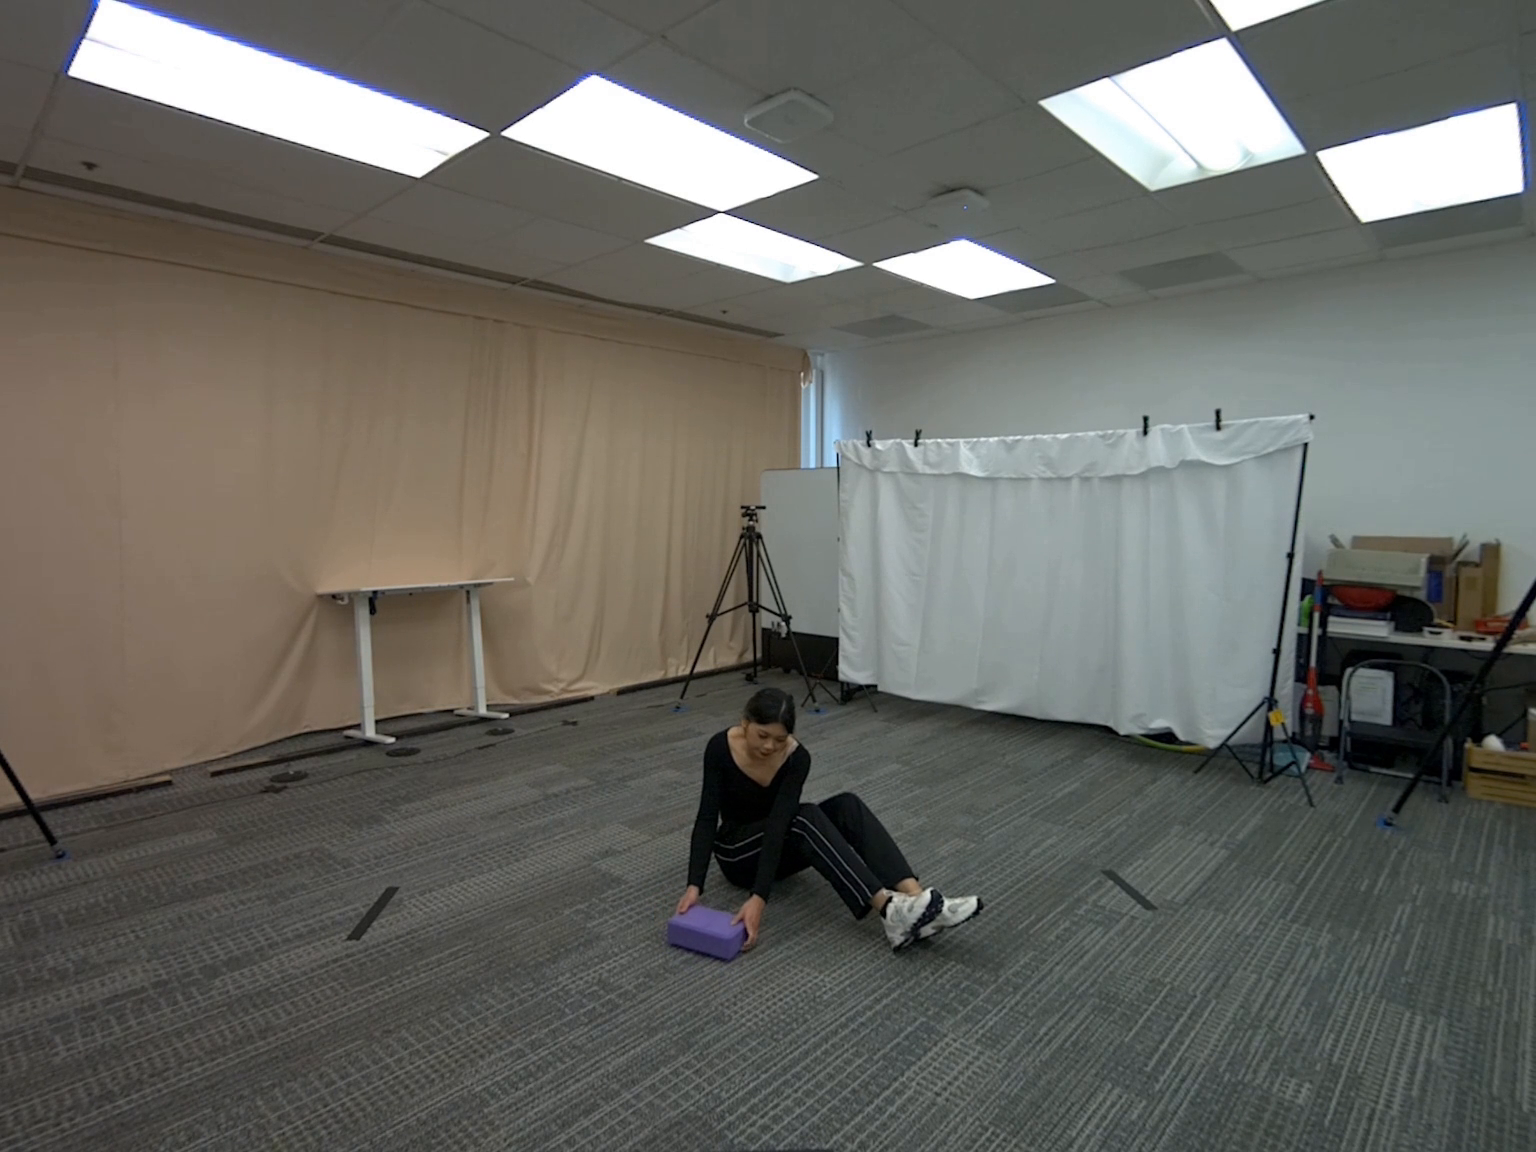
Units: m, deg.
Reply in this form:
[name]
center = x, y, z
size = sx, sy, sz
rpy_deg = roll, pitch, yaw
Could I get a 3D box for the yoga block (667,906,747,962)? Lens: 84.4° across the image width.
[yoga block]
center = -0.187, 1.119, 2.675
size = 0.236, 0.076, 0.145
rpy_deg = 3, 6, 29
